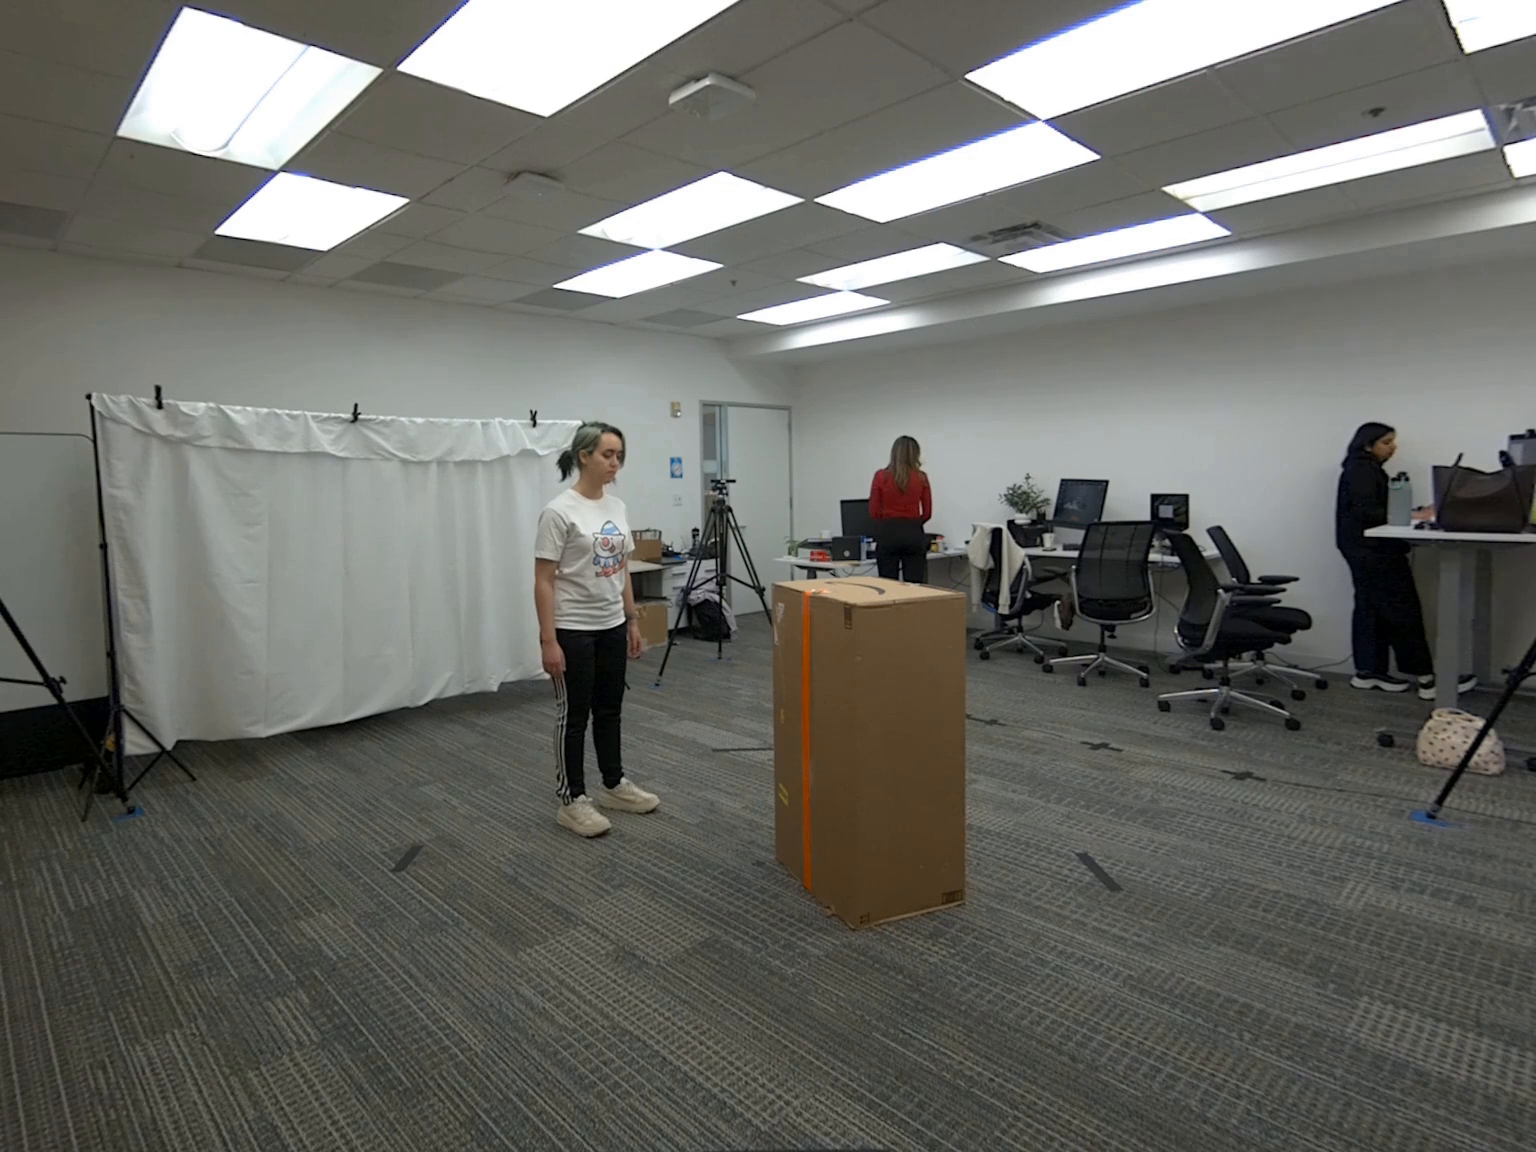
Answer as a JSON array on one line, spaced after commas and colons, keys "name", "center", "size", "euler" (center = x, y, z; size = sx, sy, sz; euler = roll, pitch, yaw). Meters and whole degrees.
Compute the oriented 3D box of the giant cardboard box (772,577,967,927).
[{"name": "giant cardboard box", "center": [0.332, 0.551, 2.938], "size": [0.437, 1.023, 0.598], "euler": [-2, 5, -25]}]
